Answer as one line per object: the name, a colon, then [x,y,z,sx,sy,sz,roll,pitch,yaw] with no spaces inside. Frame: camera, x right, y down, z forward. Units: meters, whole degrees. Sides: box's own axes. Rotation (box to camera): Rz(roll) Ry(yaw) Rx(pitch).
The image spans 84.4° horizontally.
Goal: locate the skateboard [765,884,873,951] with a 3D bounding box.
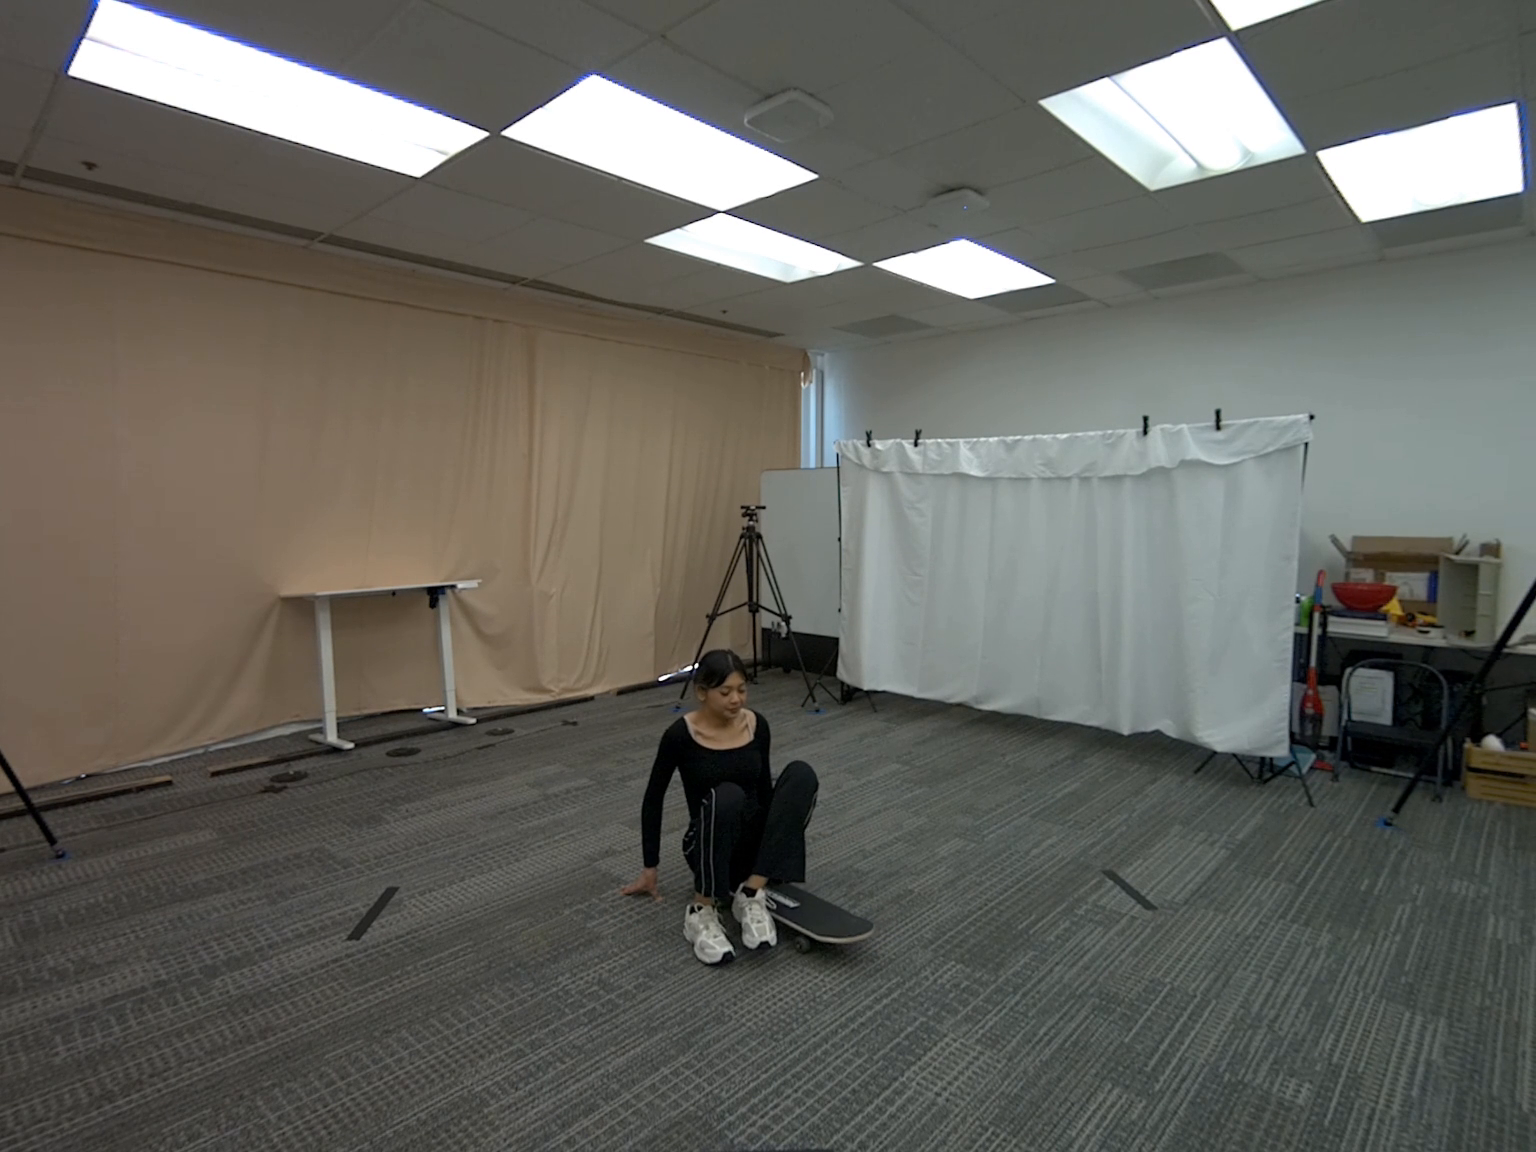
skateboard: [0.031,1.101,2.815,0.187,0.110,0.812,-3,5,-44]
